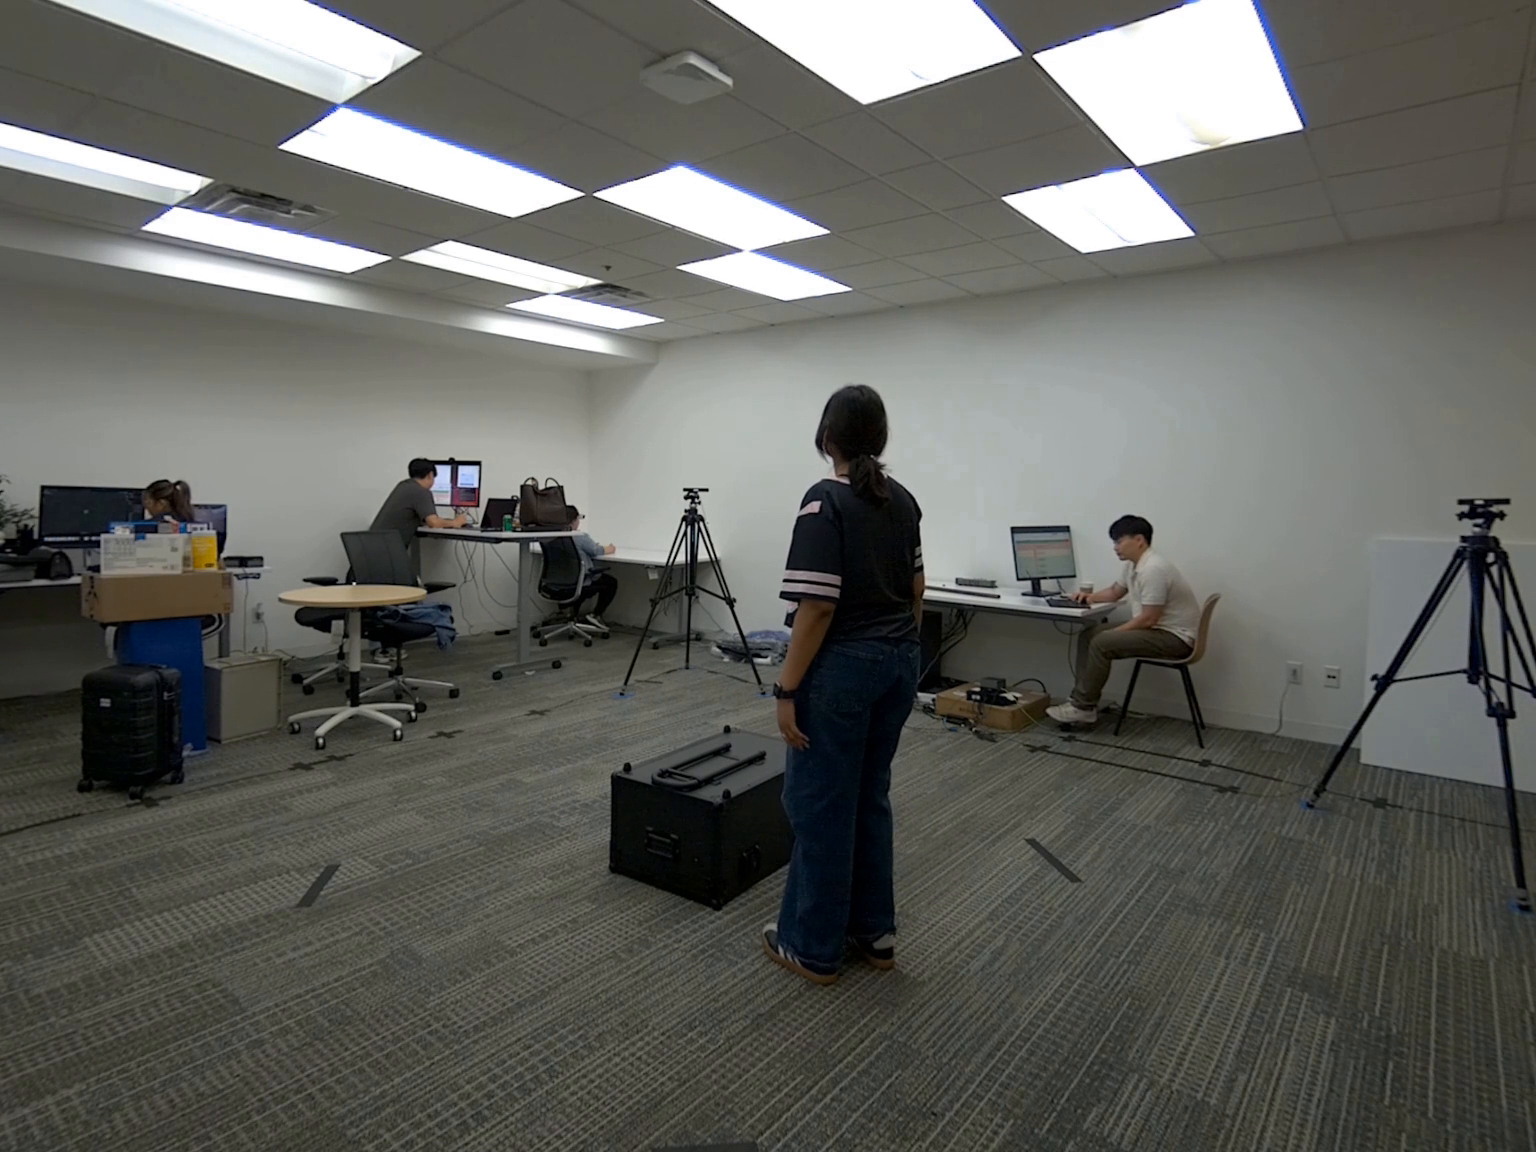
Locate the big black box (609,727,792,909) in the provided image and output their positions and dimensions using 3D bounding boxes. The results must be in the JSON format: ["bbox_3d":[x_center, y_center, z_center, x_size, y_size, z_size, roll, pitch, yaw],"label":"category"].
[{"bbox_3d":[-0.158,0.869,3.275,0.539,0.384,0.845,2,5,33],"label":"big black box"}]
